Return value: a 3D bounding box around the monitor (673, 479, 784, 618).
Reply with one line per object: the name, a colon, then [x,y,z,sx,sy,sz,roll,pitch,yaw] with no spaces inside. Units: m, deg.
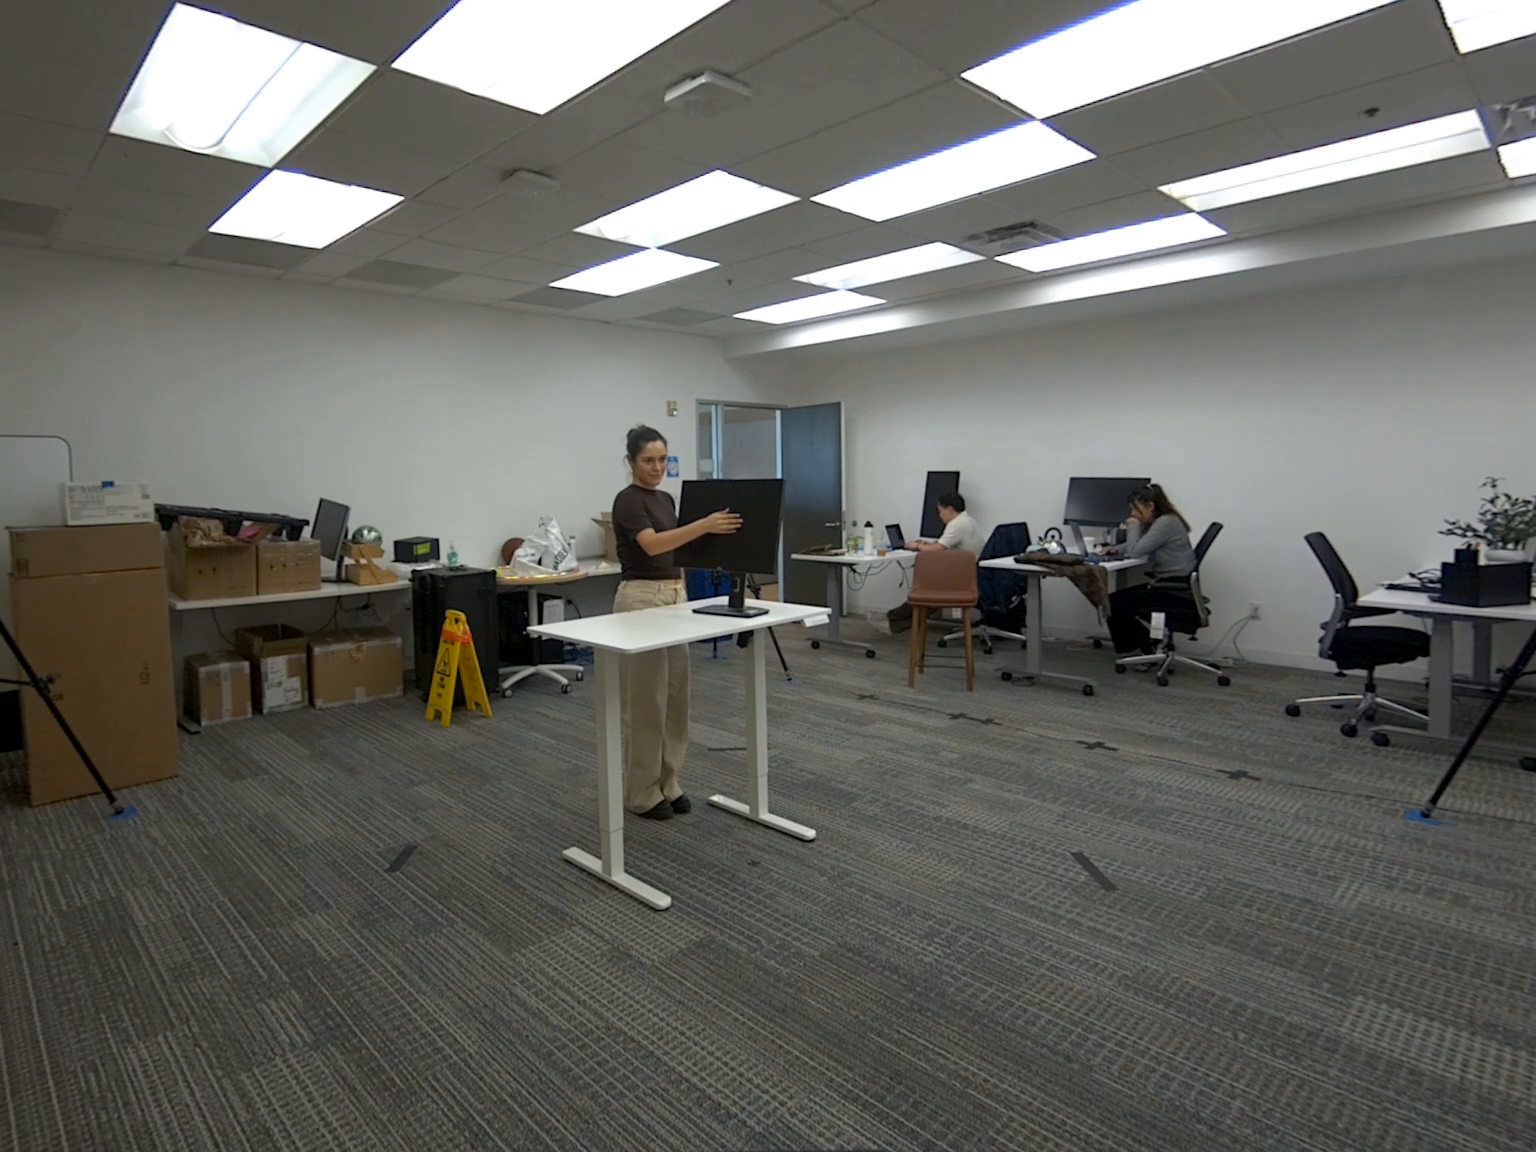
monitor: [-0.136,-0.110,3.283,0.556,0.520,0.182,4,6,42]
